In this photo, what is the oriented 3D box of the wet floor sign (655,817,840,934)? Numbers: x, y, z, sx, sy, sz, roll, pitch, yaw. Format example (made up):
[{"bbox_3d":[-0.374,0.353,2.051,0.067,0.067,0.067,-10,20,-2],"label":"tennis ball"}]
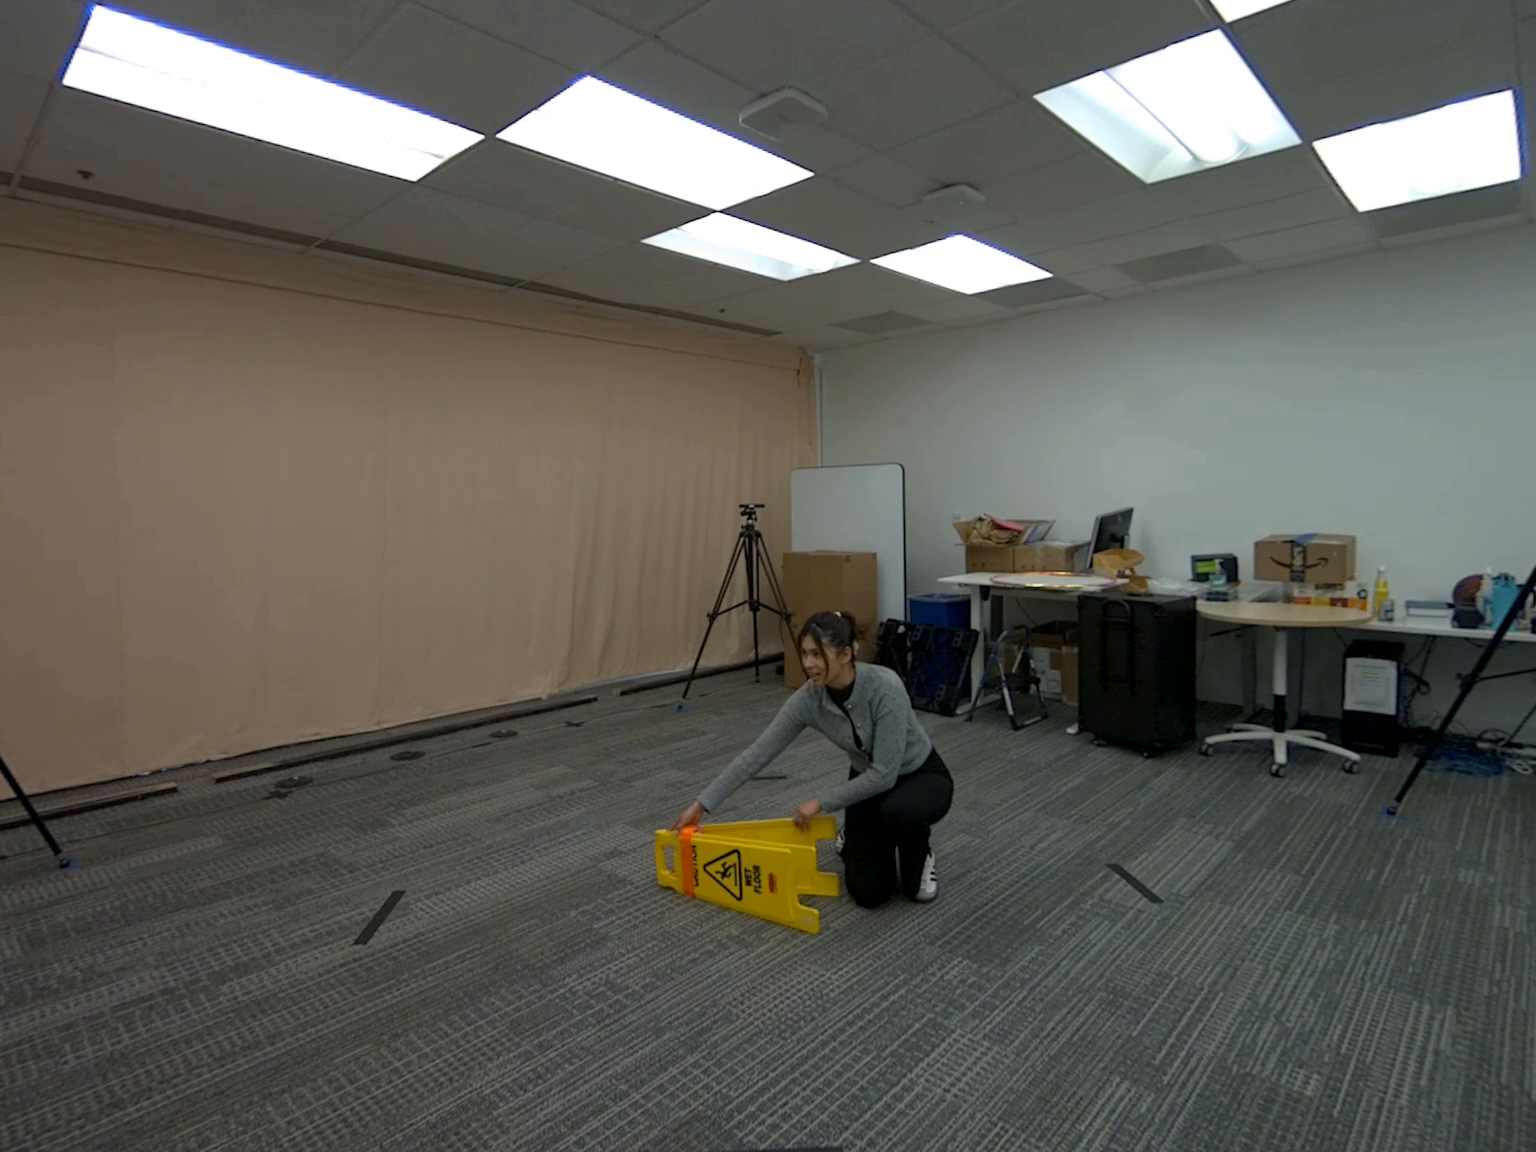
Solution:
[{"bbox_3d":[-0.099,1.023,2.972,0.660,0.282,0.284,-3,2,21],"label":"wet floor sign"}]
